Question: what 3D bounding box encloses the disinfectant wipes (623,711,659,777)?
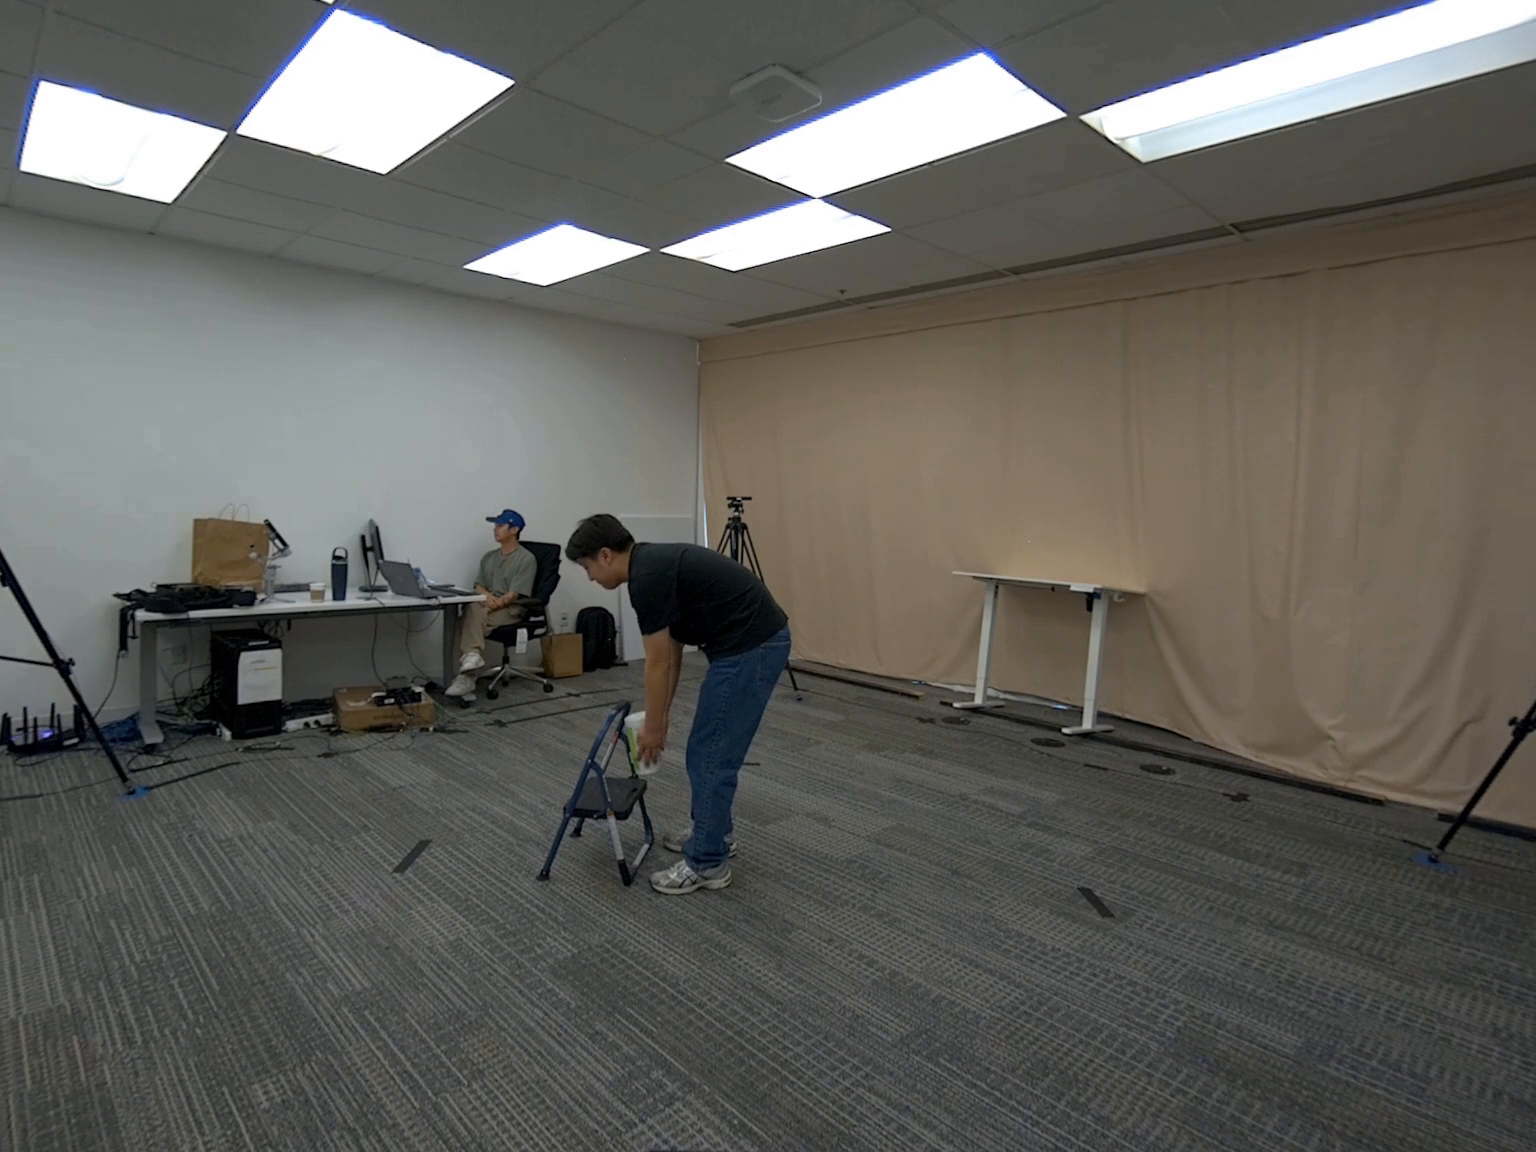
[{"bbox_3d":[-0.466,0.627,3.158,0.118,0.217,0.118,-11,1,-1],"label":"disinfectant wipes"}]
